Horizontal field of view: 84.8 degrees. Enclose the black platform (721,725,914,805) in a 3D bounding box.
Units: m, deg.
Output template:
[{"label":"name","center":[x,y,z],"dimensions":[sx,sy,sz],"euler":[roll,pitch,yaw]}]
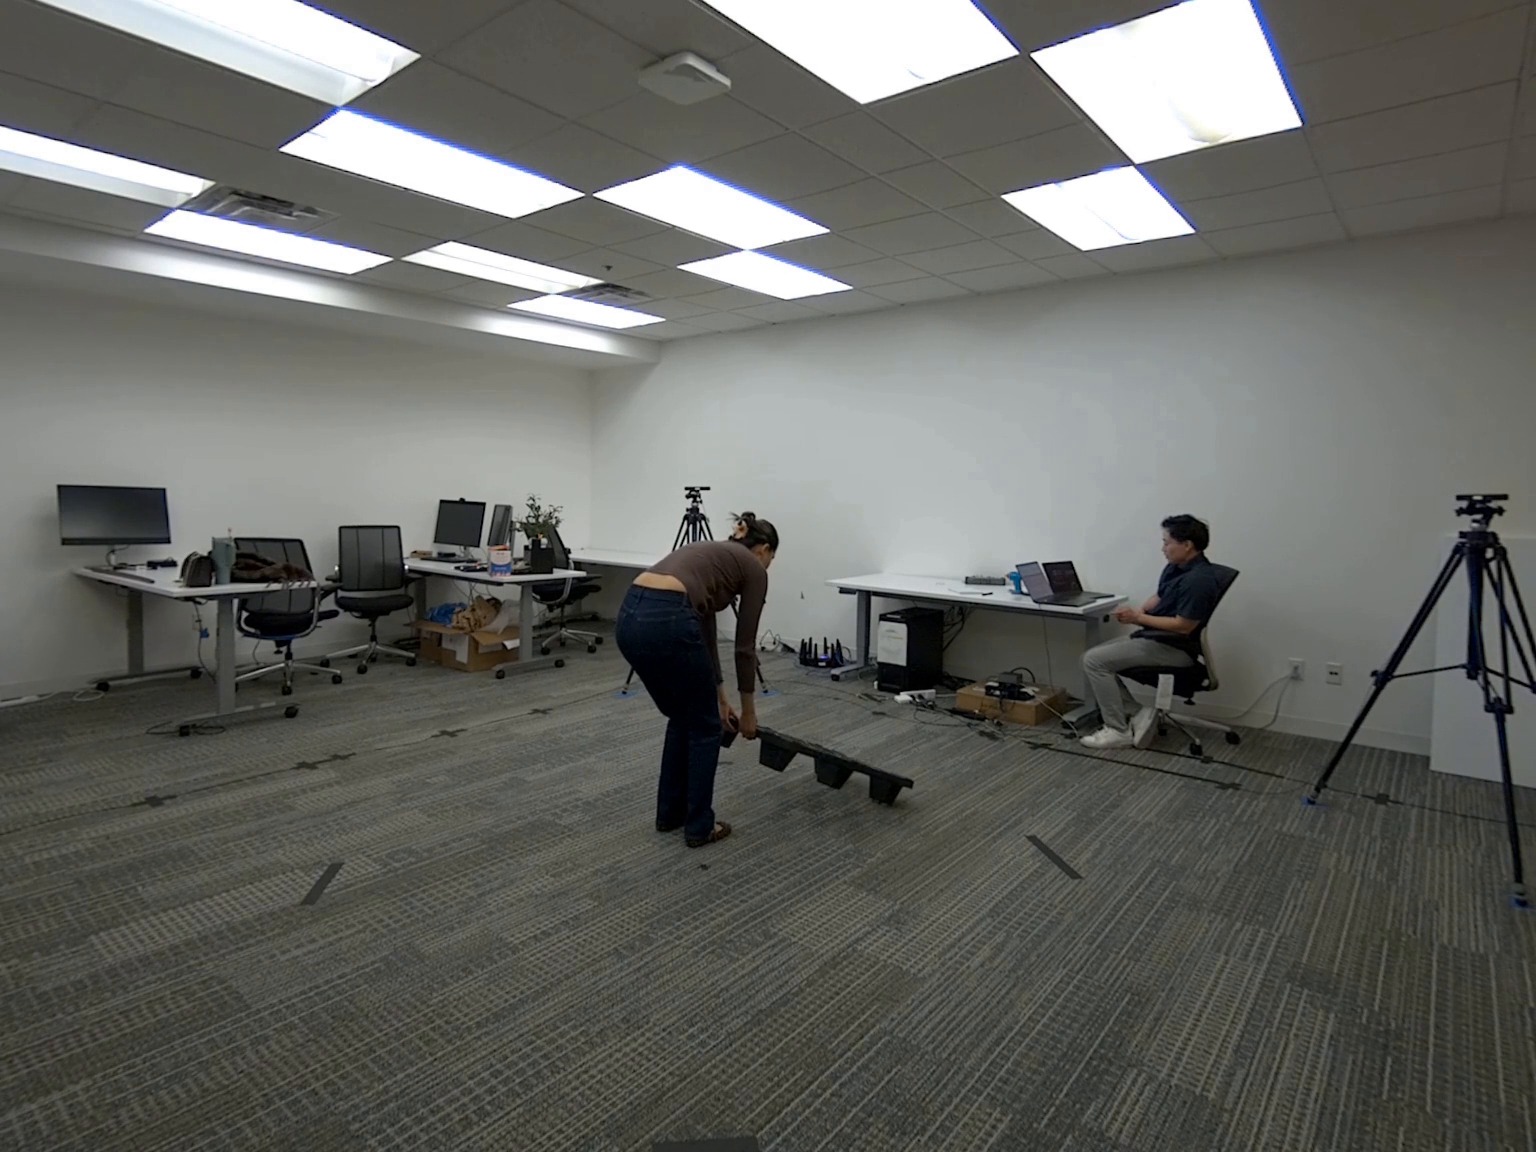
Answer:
[{"label":"black platform","center":[0.155,0.807,3.785],"dimensions":[0.776,0.144,0.625],"euler":[25,-11,-34]}]
